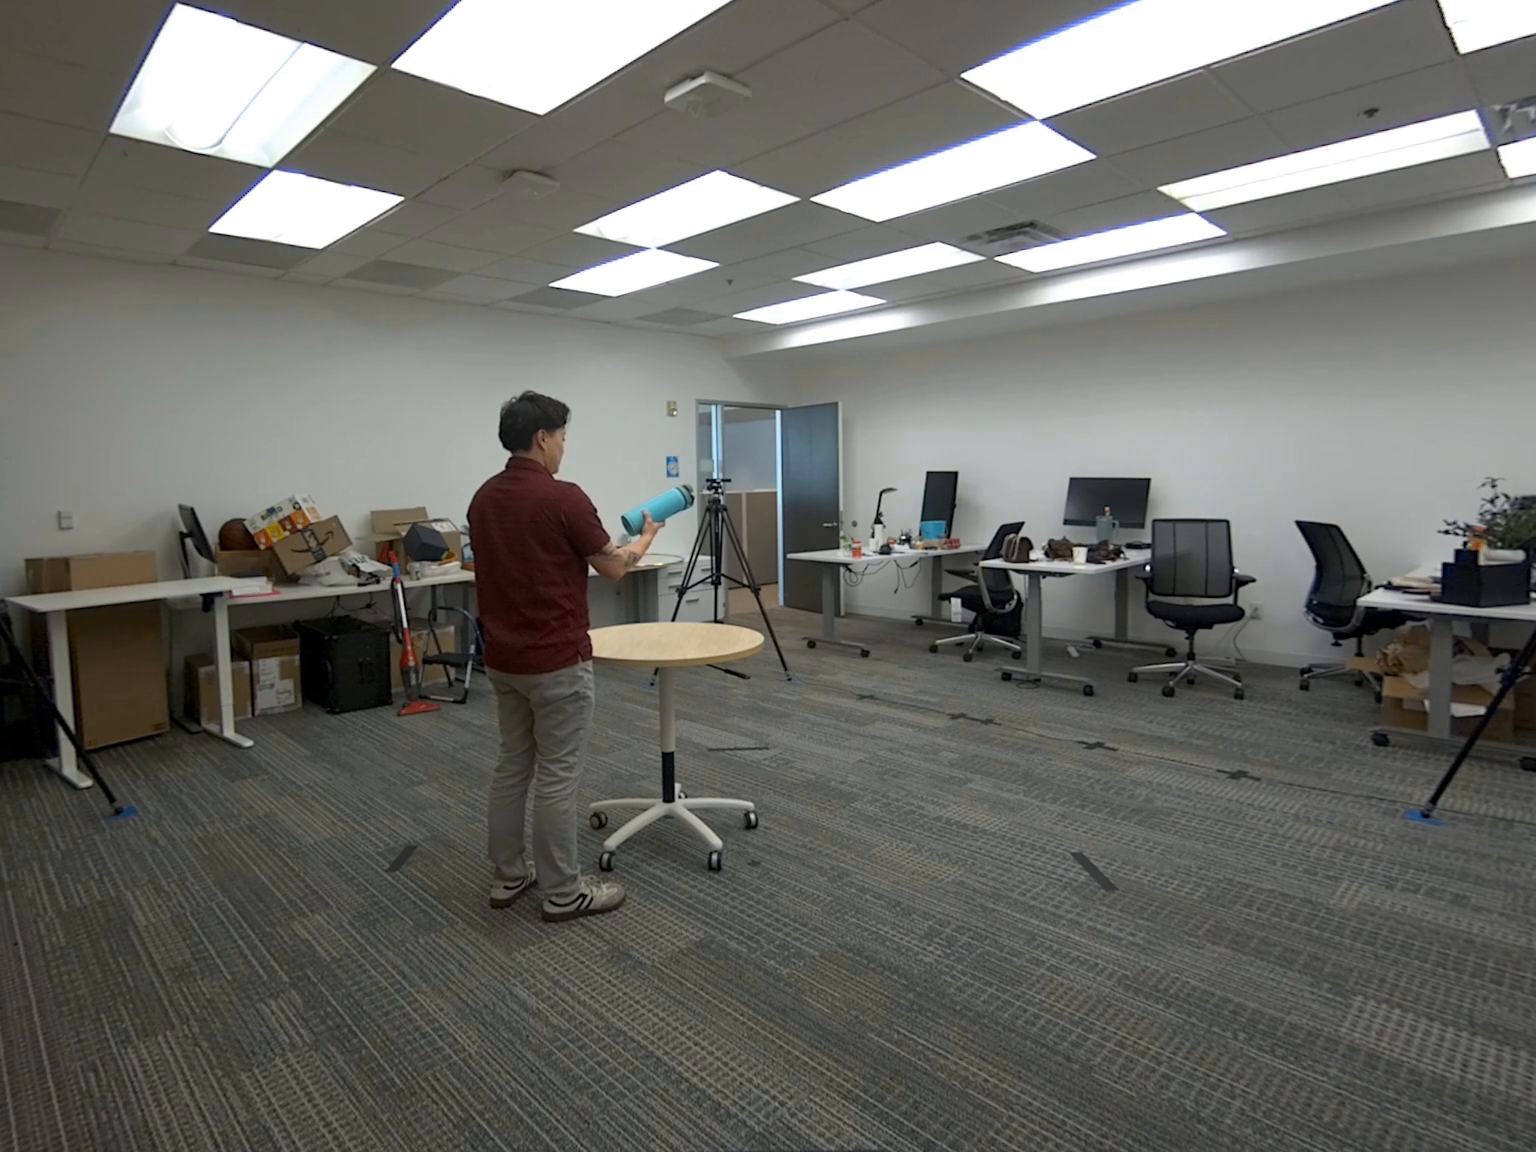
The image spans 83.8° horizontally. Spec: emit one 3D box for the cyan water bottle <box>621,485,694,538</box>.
[{"bbox_3d":[-0.397,-0.243,3.109,0.281,0.091,0.095,-31,17,-22],"label":"cyan water bottle"}]
